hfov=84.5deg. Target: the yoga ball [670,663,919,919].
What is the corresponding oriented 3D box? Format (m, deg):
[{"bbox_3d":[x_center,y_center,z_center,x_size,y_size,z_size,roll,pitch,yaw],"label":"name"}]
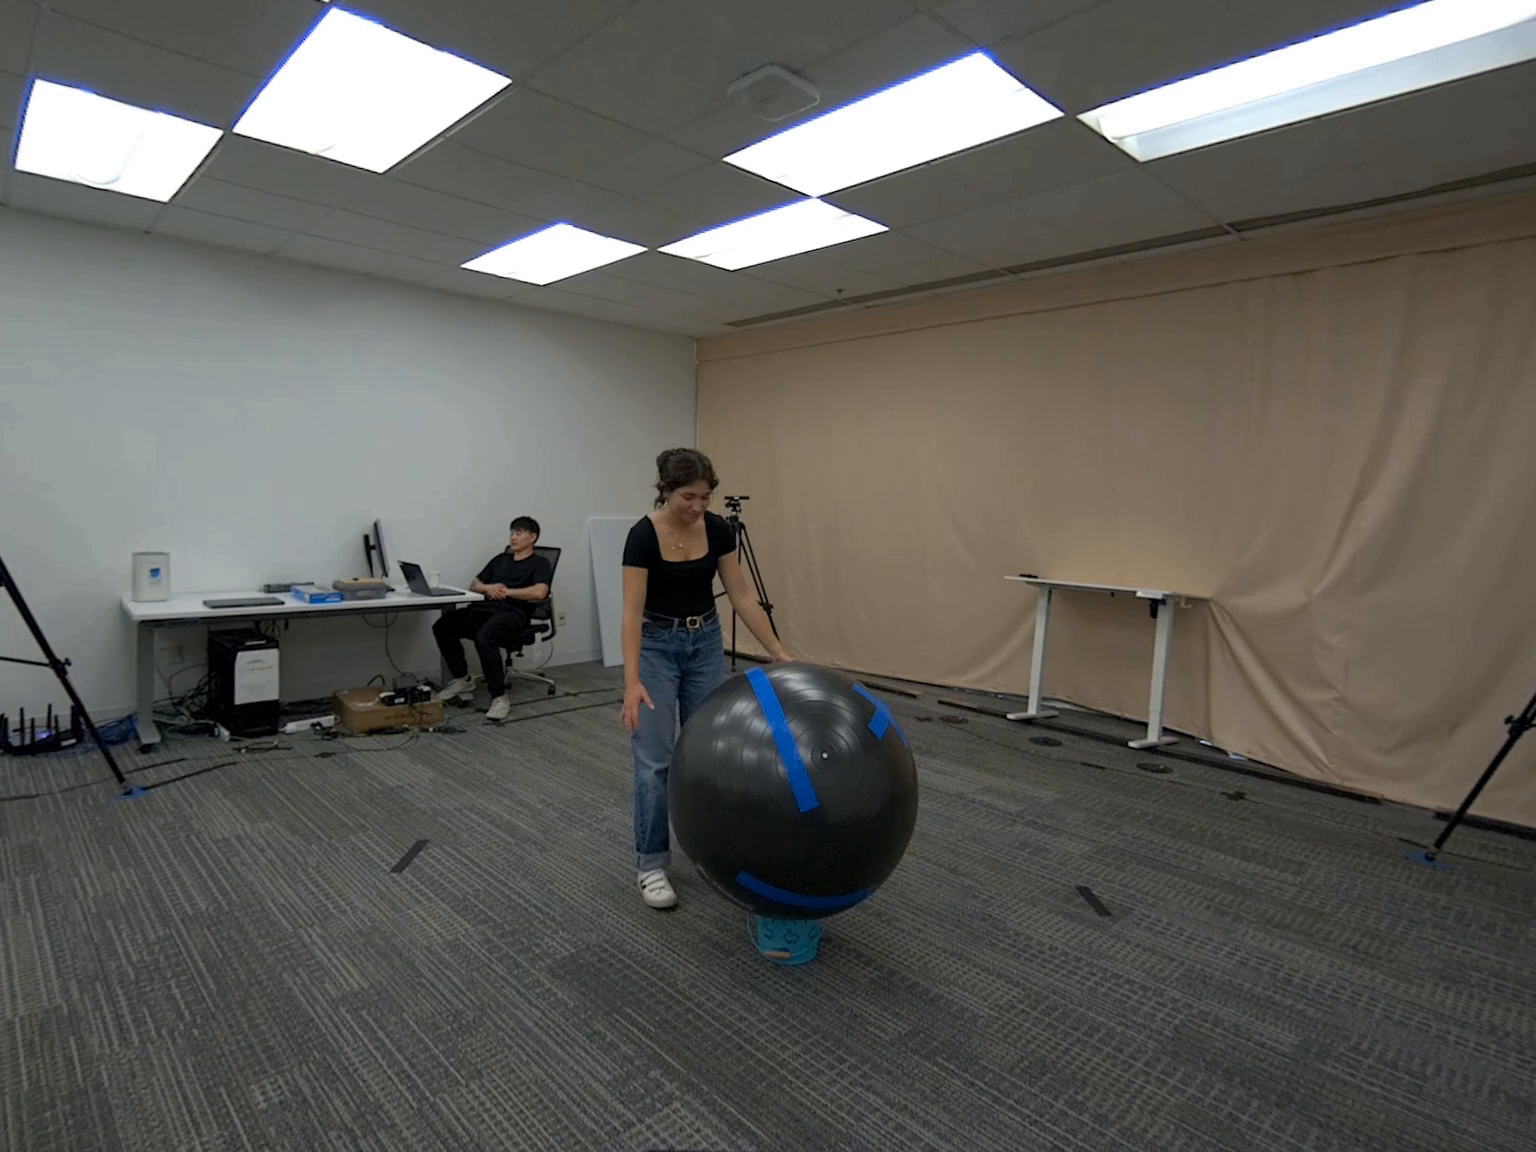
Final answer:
[{"bbox_3d":[0.076,0.655,2.574,0.757,0.756,0.761,1,4,-1],"label":"yoga ball"}]
